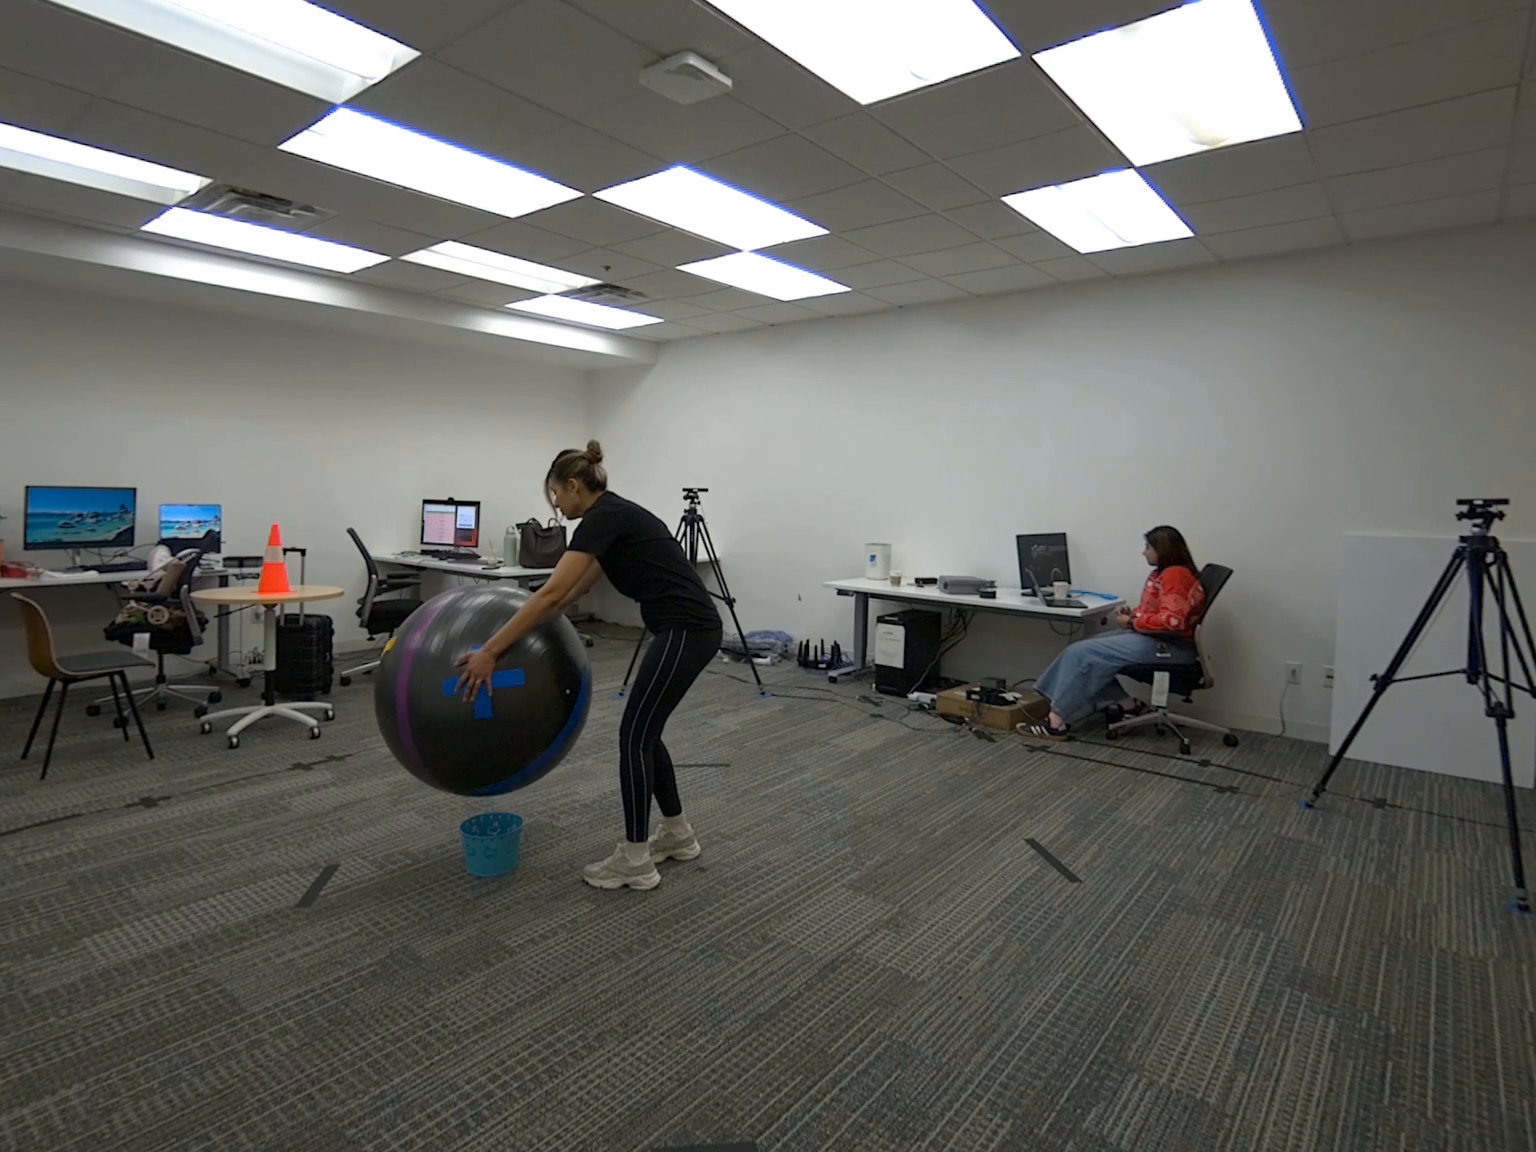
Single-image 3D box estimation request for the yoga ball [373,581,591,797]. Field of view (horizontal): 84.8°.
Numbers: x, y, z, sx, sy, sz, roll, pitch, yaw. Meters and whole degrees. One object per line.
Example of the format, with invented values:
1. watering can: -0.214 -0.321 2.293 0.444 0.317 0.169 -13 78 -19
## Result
1. yoga ball: -1.030 0.405 3.073 0.757 0.756 0.762 1 4 -2
